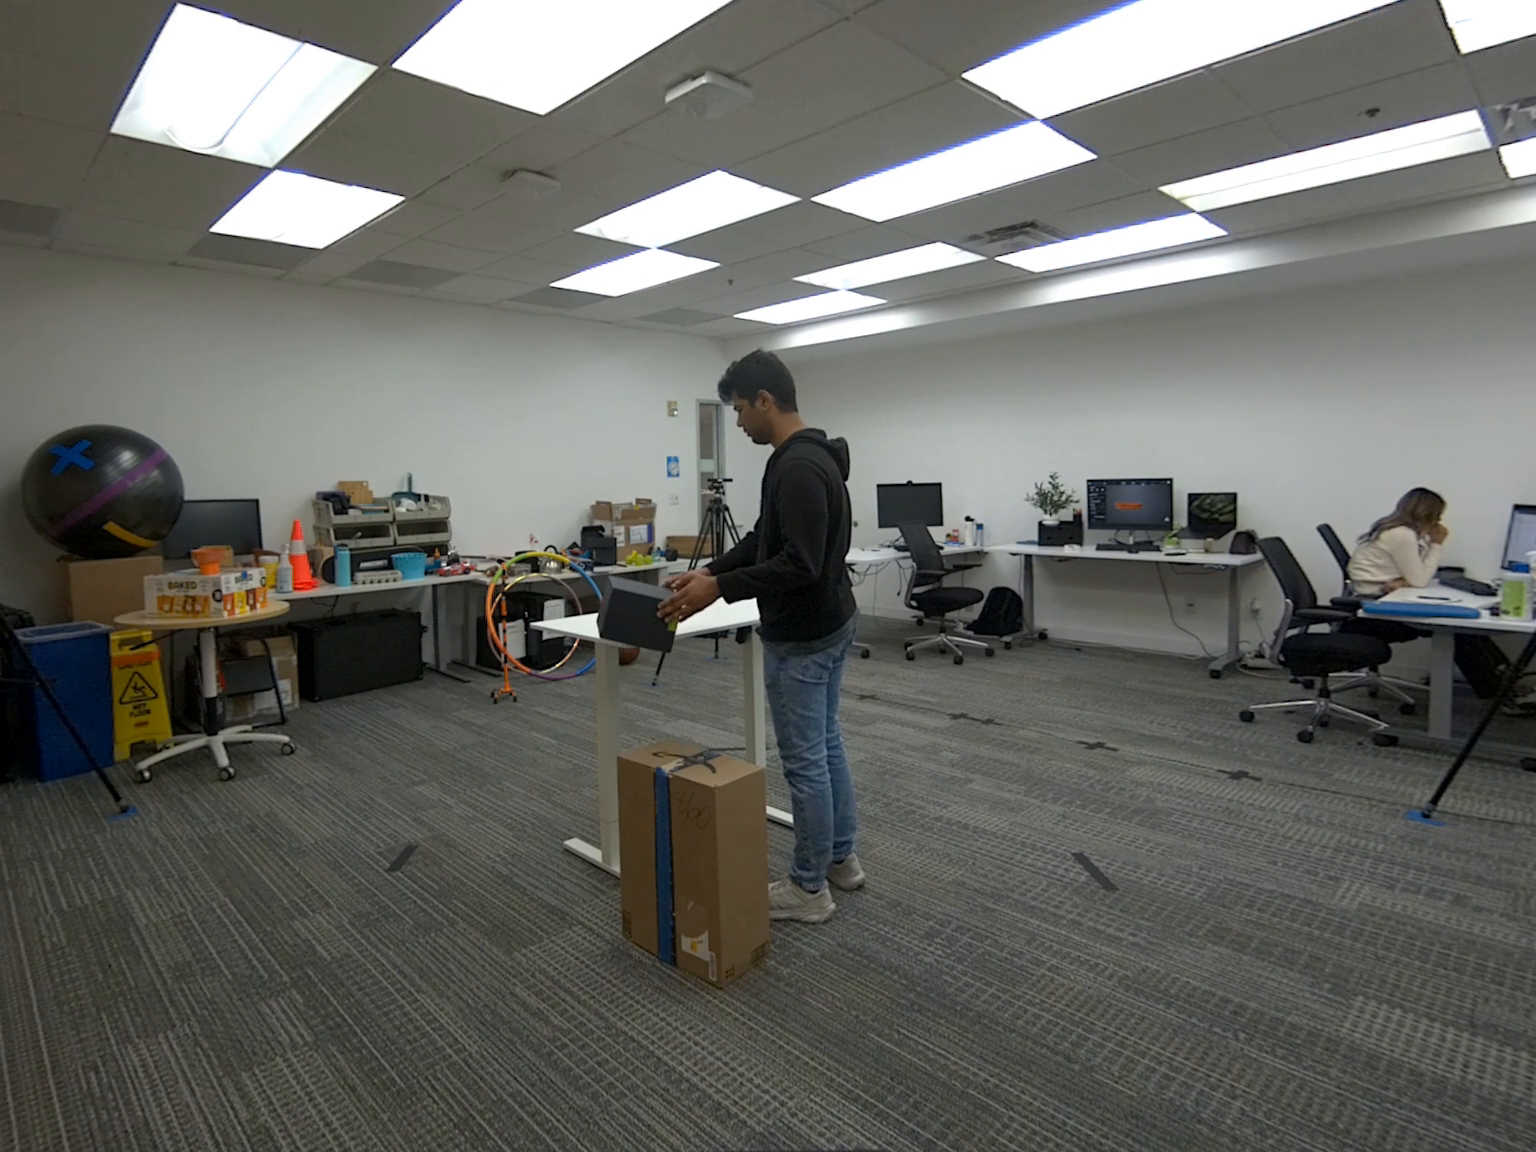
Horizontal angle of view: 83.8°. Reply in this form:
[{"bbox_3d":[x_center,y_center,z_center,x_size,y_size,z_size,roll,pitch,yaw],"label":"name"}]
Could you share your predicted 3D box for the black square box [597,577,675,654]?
[{"bbox_3d":[-0.383,0.116,2.602,0.214,0.155,0.232,13,5,-13],"label":"black square box"}]
